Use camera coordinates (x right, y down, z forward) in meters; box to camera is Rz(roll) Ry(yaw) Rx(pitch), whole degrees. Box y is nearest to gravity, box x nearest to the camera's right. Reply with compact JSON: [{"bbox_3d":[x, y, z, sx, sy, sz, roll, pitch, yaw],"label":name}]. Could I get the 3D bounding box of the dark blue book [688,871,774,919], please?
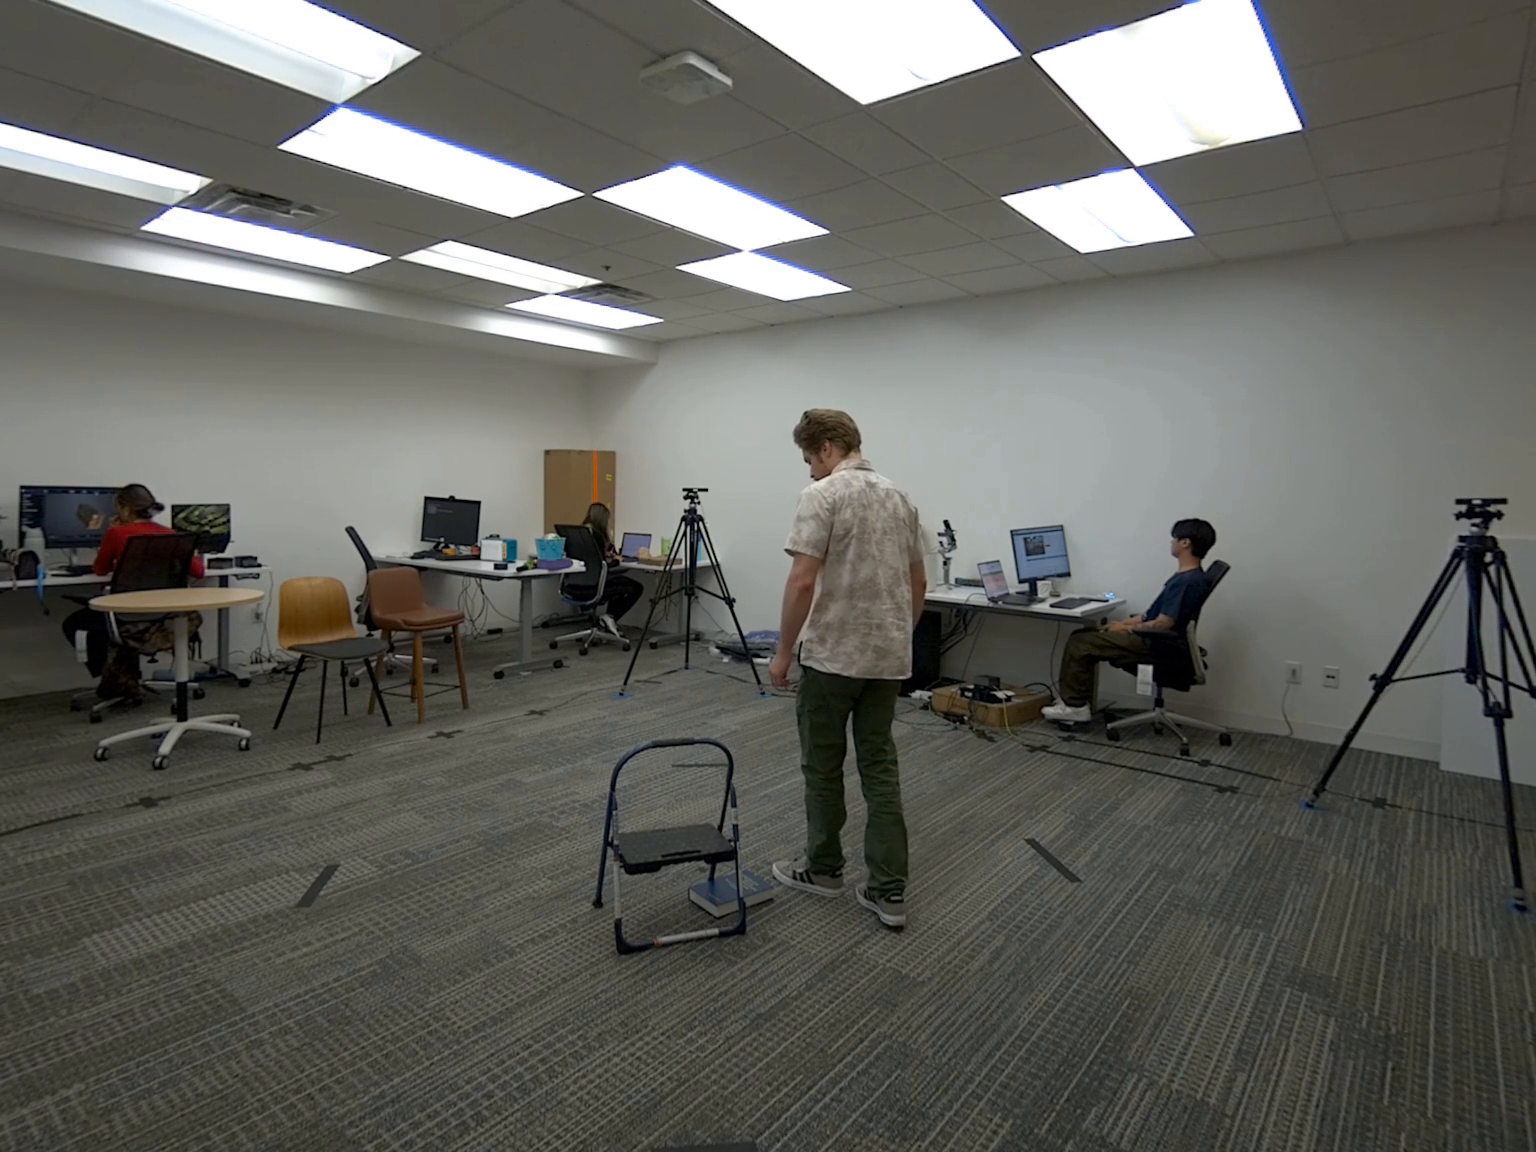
[{"bbox_3d":[-0.127,1.078,2.884,0.238,0.045,0.169,-4,7,-37],"label":"dark blue book"}]
